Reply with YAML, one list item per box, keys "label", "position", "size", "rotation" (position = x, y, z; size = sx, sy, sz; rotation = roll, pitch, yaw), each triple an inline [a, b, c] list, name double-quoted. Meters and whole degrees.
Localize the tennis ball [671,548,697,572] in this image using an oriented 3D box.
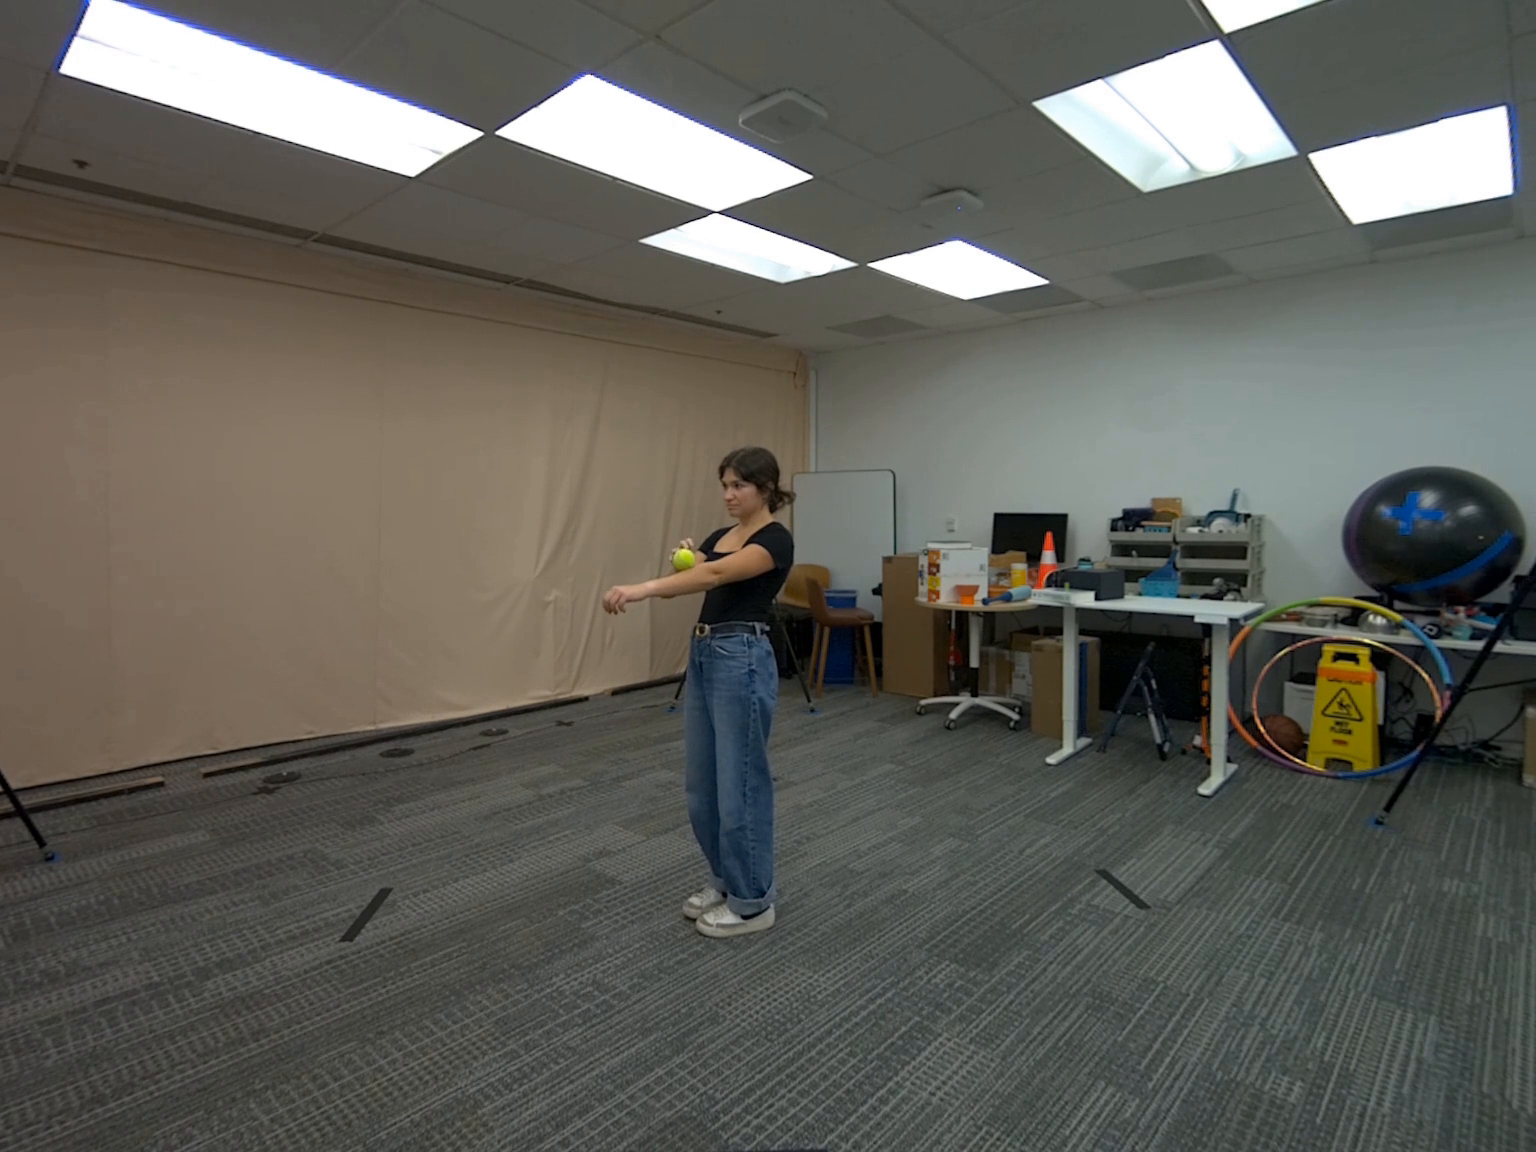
- label: "tennis ball"
  position: [-0.248, -0.050, 2.562]
  size: [0.066, 0.066, 0.067]
  rotation: [0, 4, -2]
